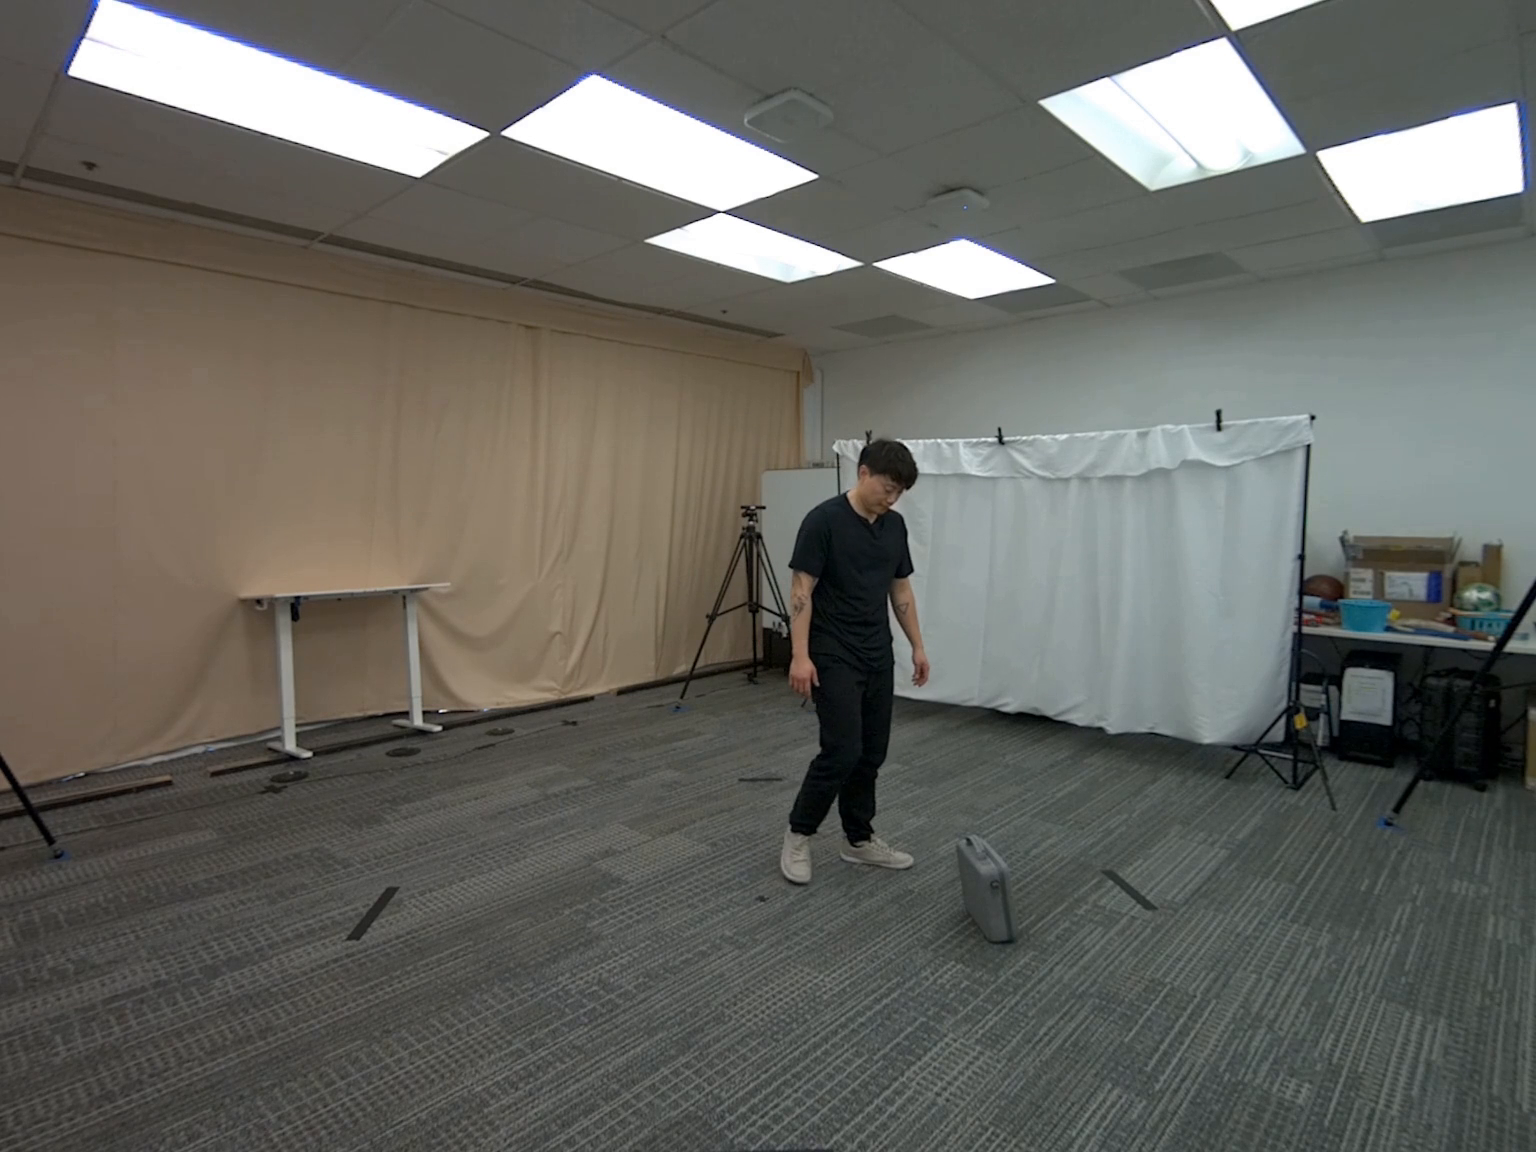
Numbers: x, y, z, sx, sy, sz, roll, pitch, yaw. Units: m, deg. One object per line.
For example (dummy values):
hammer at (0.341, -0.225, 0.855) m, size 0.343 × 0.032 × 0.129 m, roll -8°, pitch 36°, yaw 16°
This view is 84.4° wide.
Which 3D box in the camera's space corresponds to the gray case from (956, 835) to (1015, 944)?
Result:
gray case at (0.728, 1.024, 2.771) m, size 0.104 × 0.260 × 0.258 m, roll -9°, pitch 4°, yaw -5°
